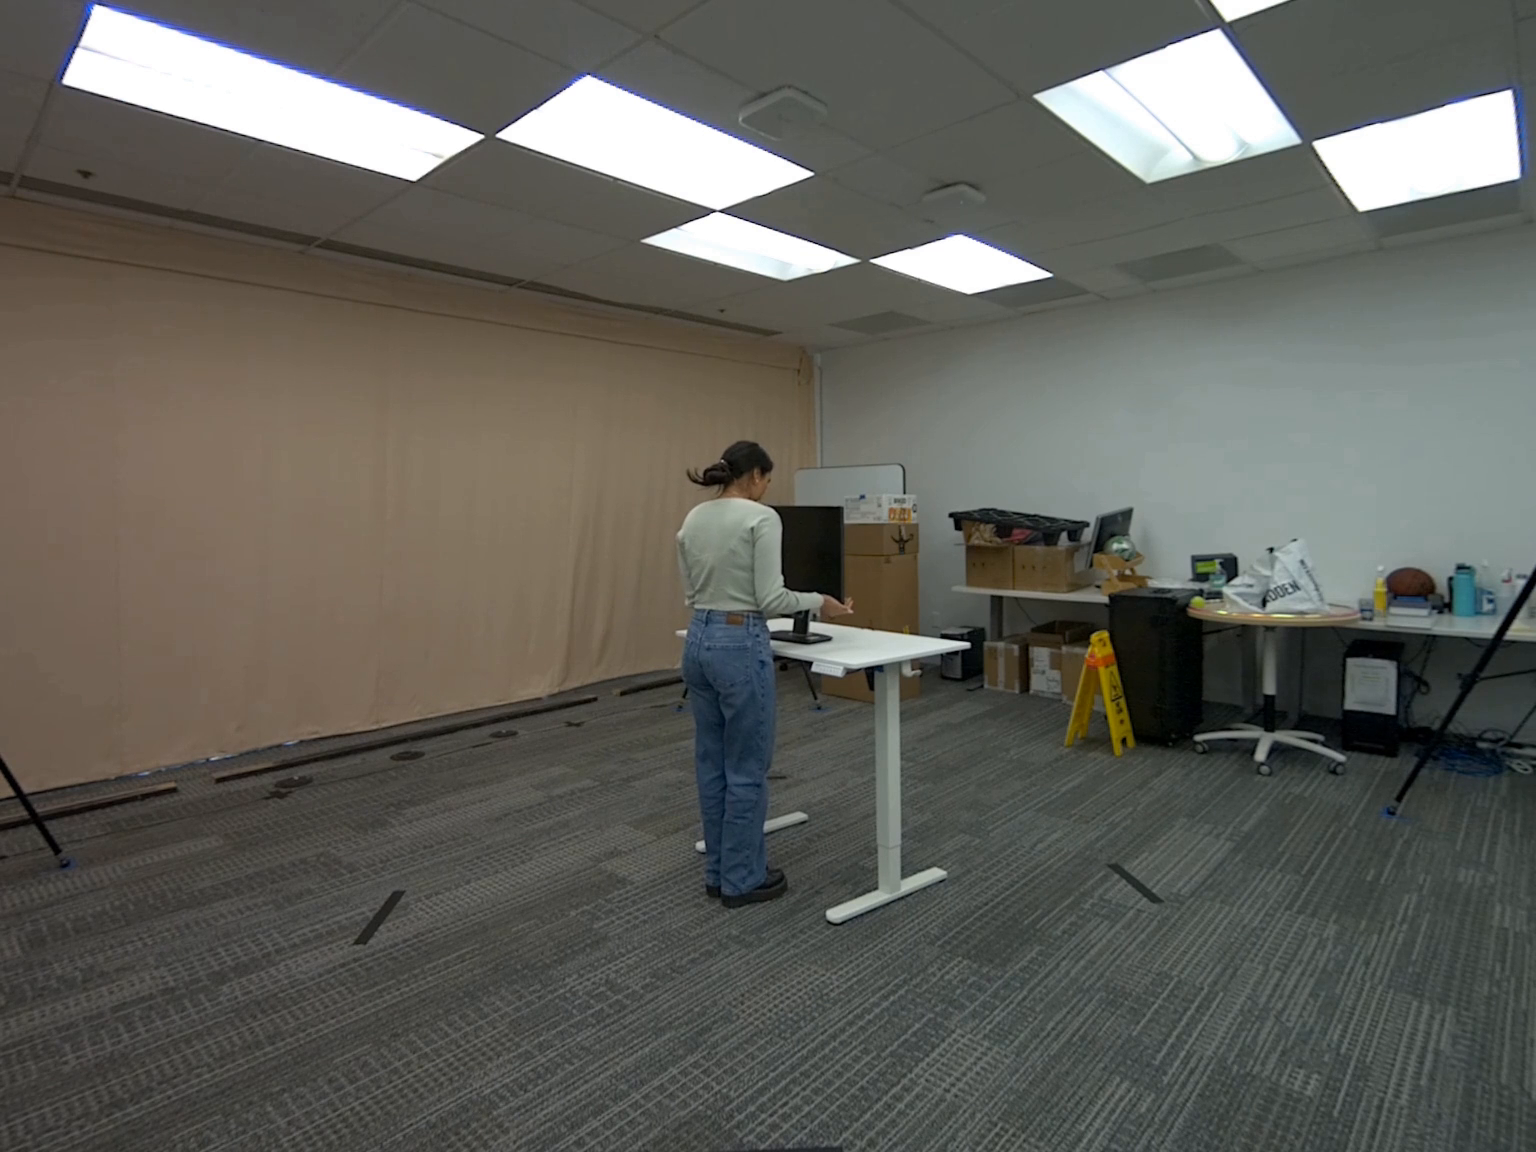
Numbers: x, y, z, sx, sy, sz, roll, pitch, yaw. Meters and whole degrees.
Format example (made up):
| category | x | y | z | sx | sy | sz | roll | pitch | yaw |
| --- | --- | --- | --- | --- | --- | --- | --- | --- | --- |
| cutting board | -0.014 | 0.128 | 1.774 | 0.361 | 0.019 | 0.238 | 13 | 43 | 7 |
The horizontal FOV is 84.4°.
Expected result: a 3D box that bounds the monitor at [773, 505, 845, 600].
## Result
| category | x | y | z | sx | sy | sz | roll | pitch | yaw |
| --- | --- | --- | --- | --- | --- | --- | --- | --- | --- |
| monitor | 0.107 | -0.002 | 3.181 | 0.182 | 0.520 | 0.557 | -9 | 8 | -39 |
